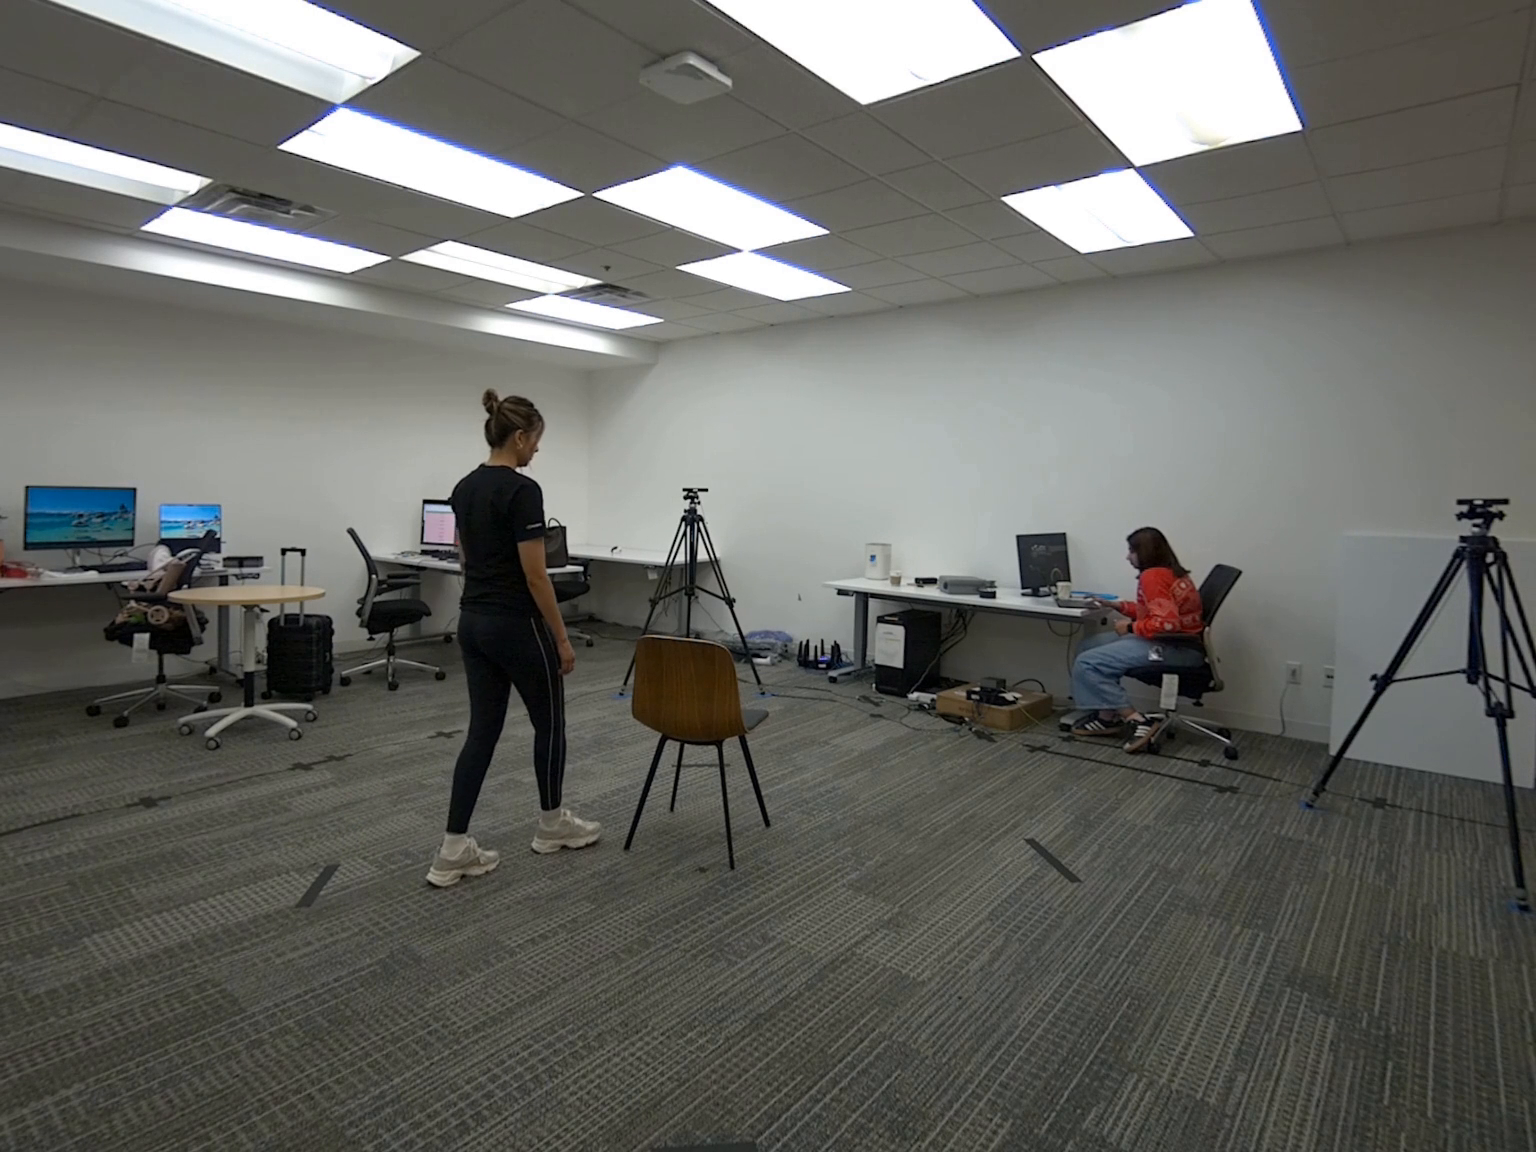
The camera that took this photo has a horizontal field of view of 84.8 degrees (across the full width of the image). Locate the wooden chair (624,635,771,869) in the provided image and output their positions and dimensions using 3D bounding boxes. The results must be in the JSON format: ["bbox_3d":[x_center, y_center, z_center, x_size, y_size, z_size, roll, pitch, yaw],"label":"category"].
[{"bbox_3d":[-0.275,0.618,3.373,0.488,0.871,0.515,2,7,20],"label":"wooden chair"}]
